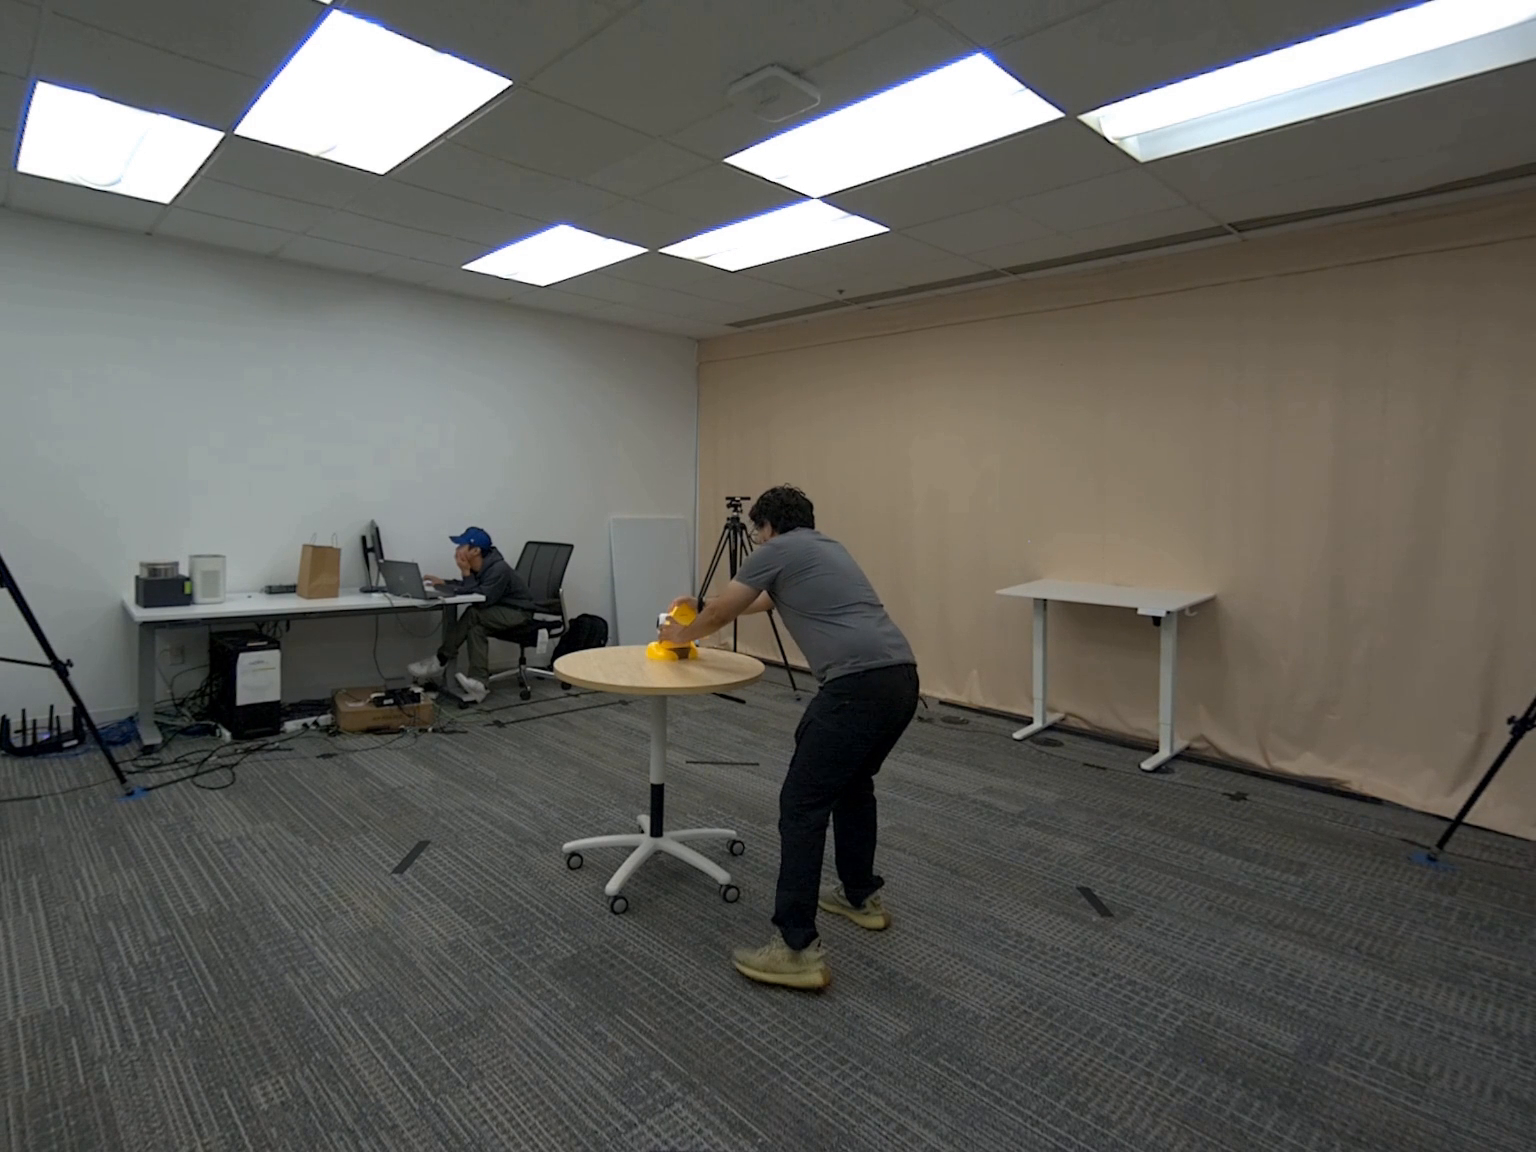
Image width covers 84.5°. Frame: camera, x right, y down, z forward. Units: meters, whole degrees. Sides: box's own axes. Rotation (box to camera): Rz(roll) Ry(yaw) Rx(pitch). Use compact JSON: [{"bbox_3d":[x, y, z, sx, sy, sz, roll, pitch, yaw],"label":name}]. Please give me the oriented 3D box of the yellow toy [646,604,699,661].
[{"bbox_3d":[-0.378,0.196,3.235,0.200,0.230,0.198,-2,5,-41],"label":"yellow toy"}]
